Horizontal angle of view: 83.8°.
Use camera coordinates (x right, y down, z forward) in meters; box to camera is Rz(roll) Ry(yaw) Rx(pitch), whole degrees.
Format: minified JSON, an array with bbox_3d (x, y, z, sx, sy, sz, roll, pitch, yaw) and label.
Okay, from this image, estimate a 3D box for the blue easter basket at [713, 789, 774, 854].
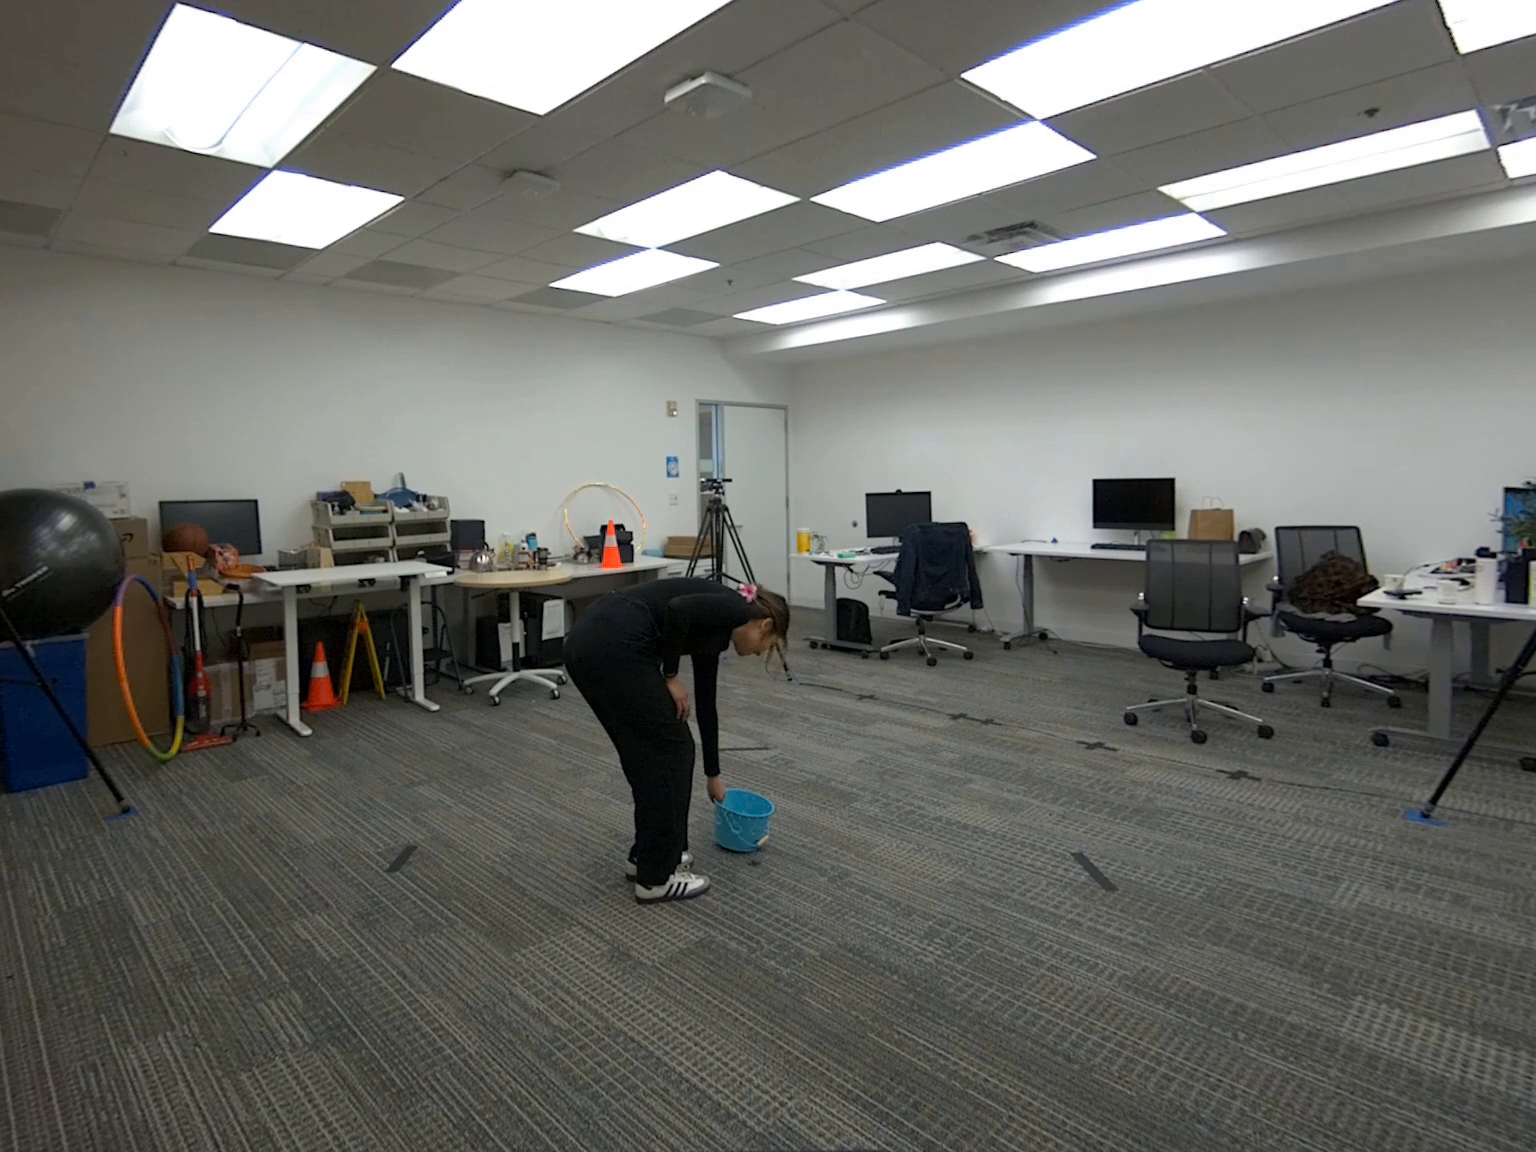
[{"bbox_3d":[-0.108,0.938,3.261,0.243,0.155,0.245,10,7,-3],"label":"blue easter basket"}]
